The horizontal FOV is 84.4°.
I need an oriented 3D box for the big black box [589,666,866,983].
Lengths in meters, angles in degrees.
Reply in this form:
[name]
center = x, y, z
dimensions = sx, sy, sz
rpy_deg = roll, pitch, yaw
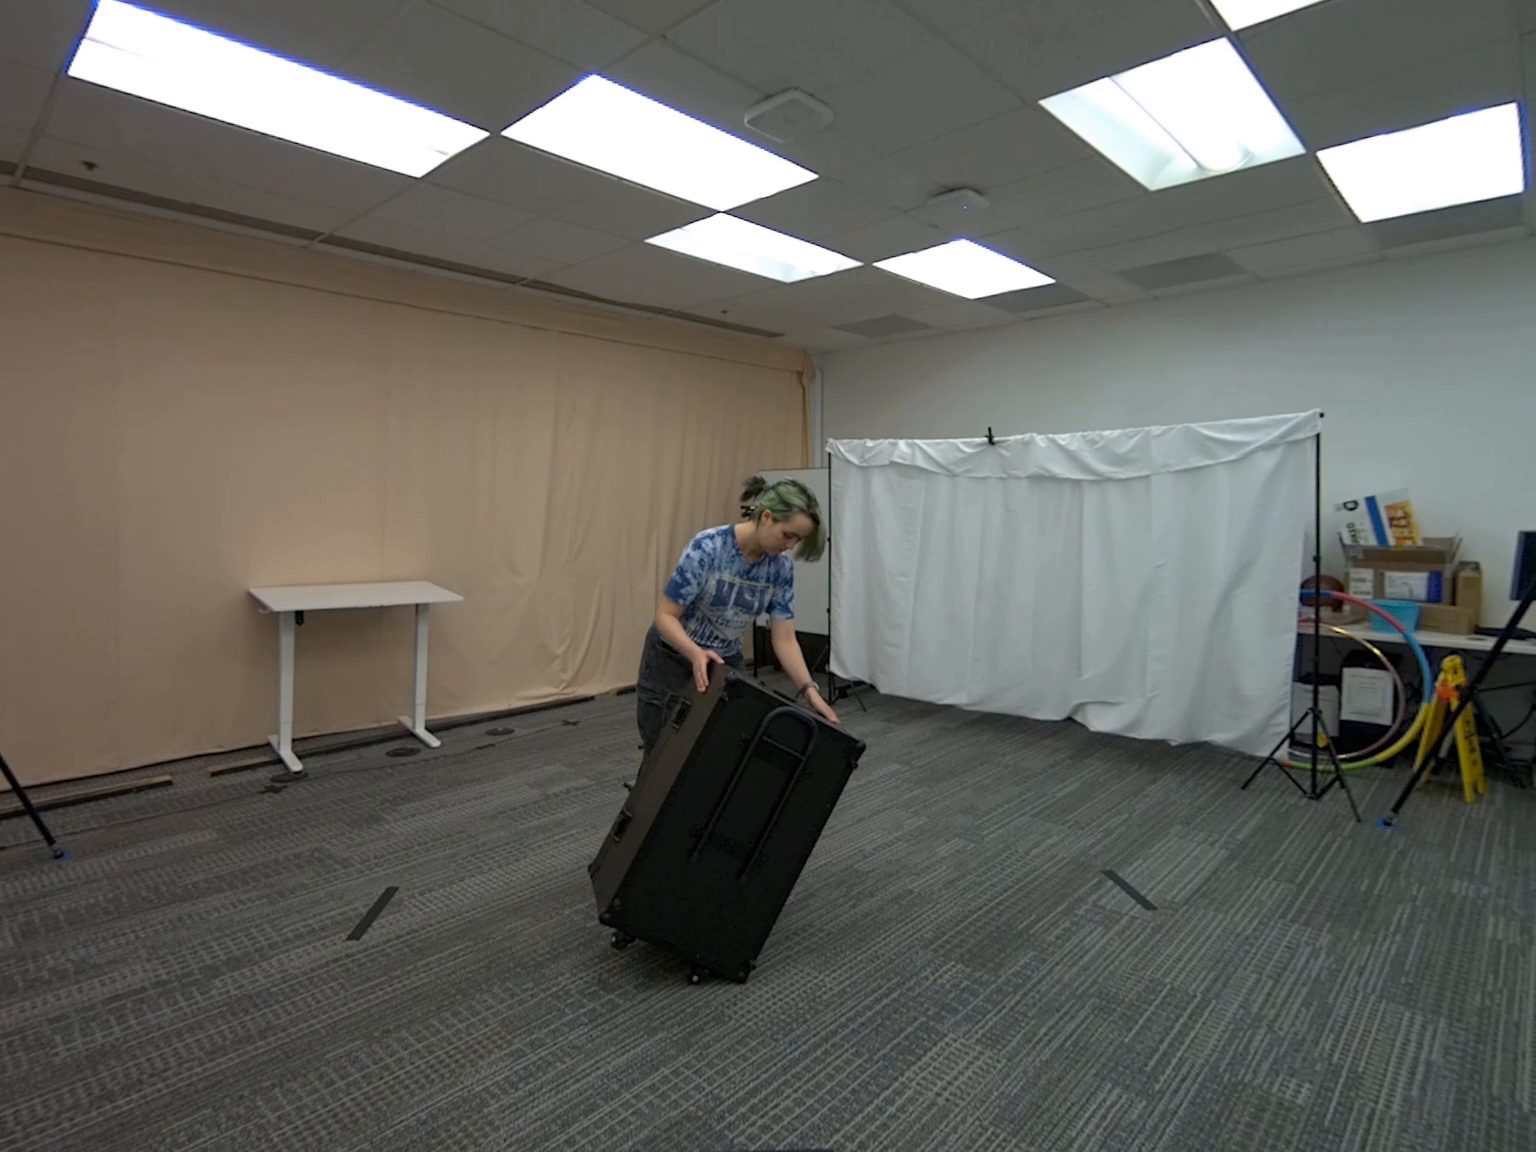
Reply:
[big black box]
center = -0.141, 0.751, 2.578
dimensions = 0.512, 0.861, 0.403
rpy_deg = 30, -2, -15
